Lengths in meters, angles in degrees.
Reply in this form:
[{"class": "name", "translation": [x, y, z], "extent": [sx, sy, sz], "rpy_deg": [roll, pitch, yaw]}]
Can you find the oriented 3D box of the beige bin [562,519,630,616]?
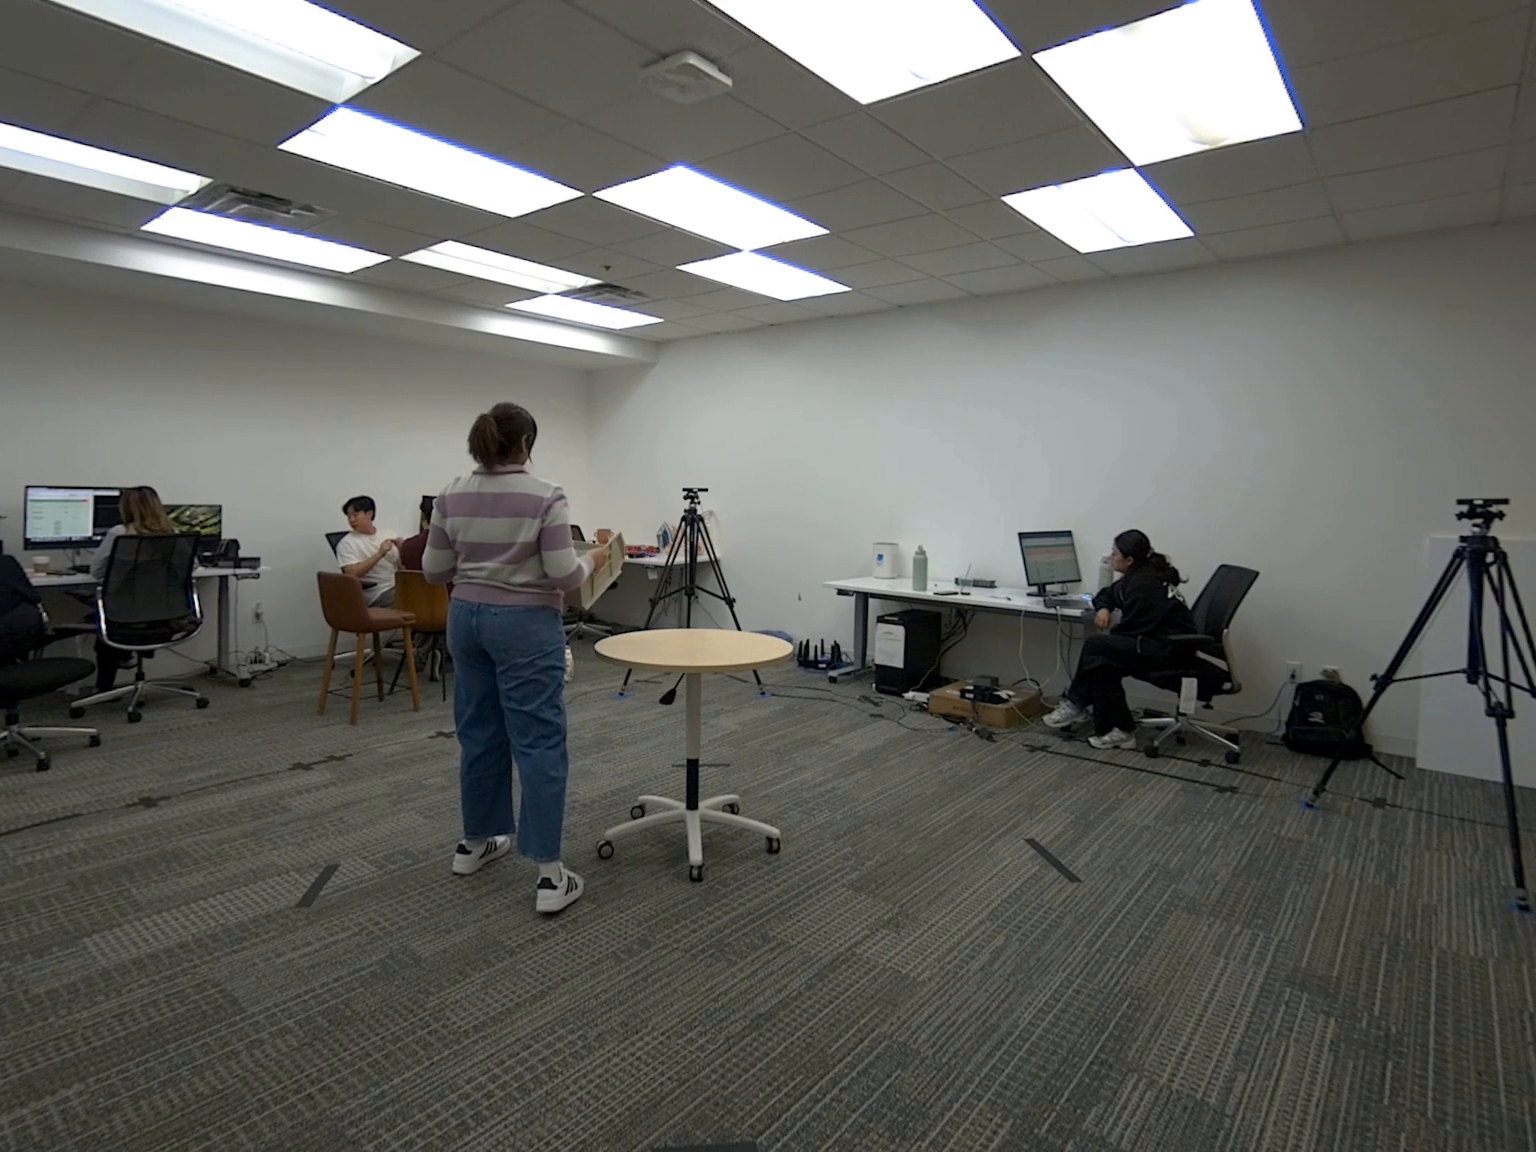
[{"class": "beige bin", "translation": [-0.831, -0.055, 3.356], "extent": [0.431, 0.184, 0.379], "rpy_deg": [9, 30, 16]}]
